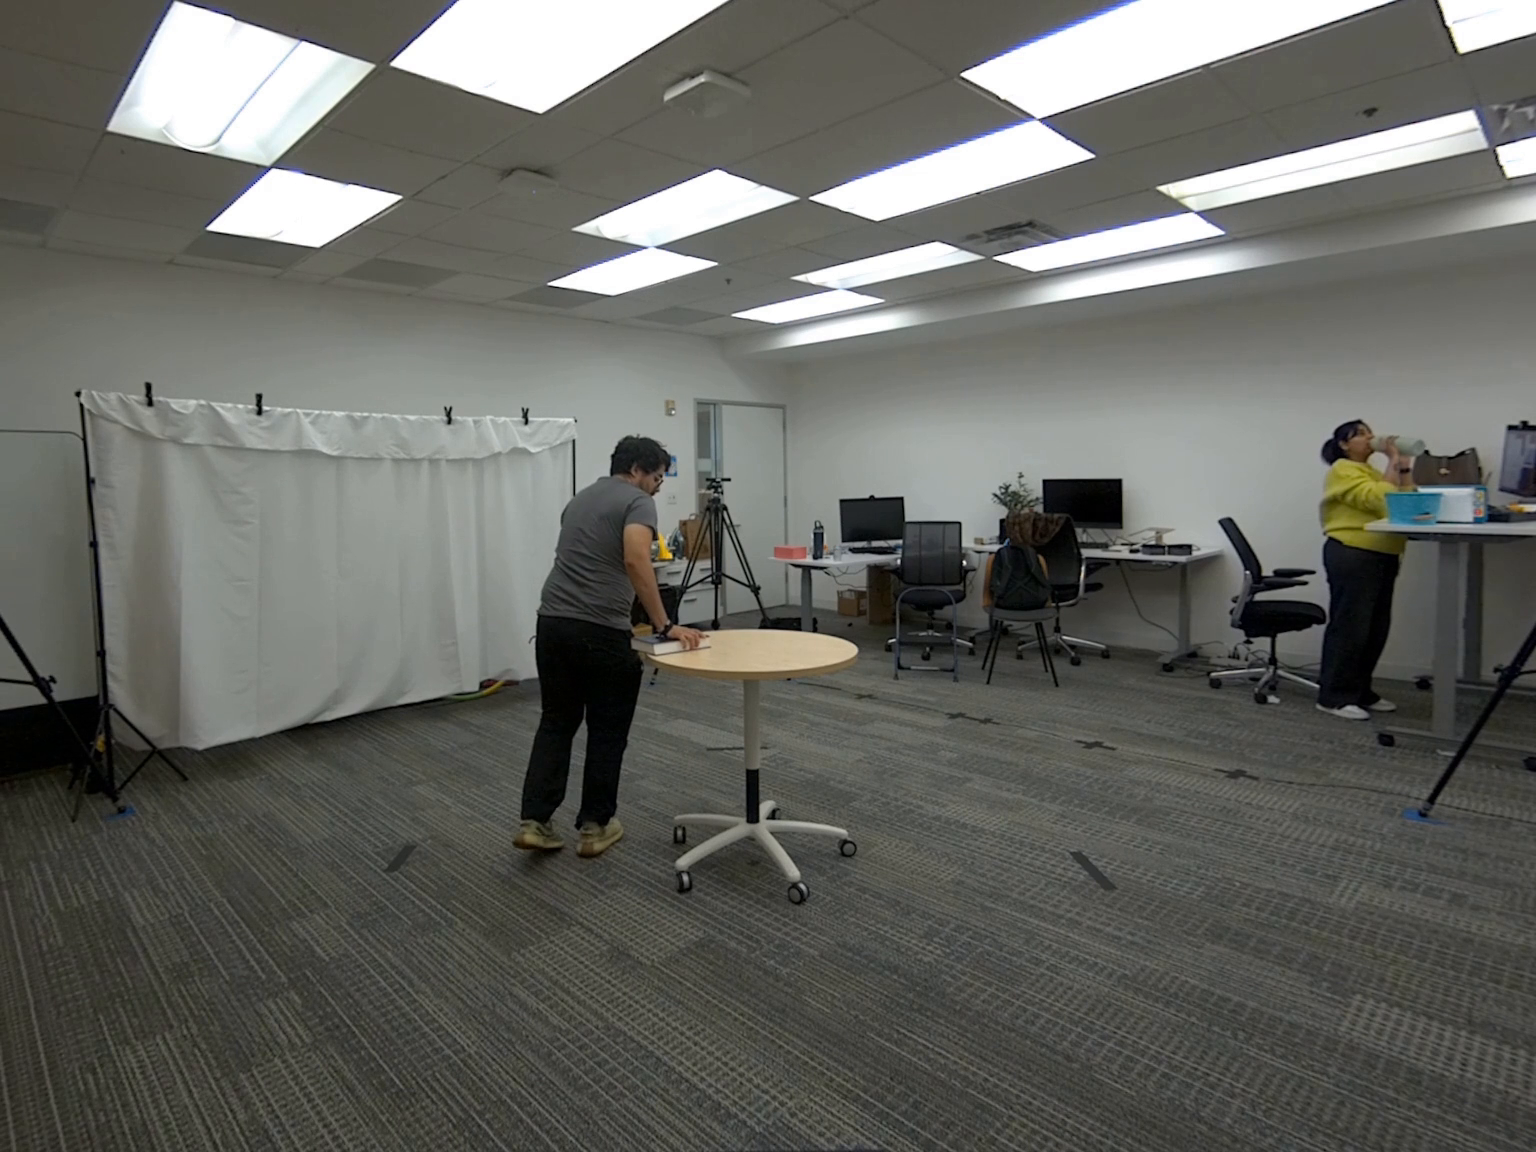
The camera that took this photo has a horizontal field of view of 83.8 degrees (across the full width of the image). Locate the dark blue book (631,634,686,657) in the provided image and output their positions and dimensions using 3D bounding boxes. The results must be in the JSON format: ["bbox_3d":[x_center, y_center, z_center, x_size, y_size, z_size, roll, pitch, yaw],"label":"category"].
[{"bbox_3d":[-0.348,0.241,3.095,0.239,0.045,0.168,-4,7,-36],"label":"dark blue book"}]
